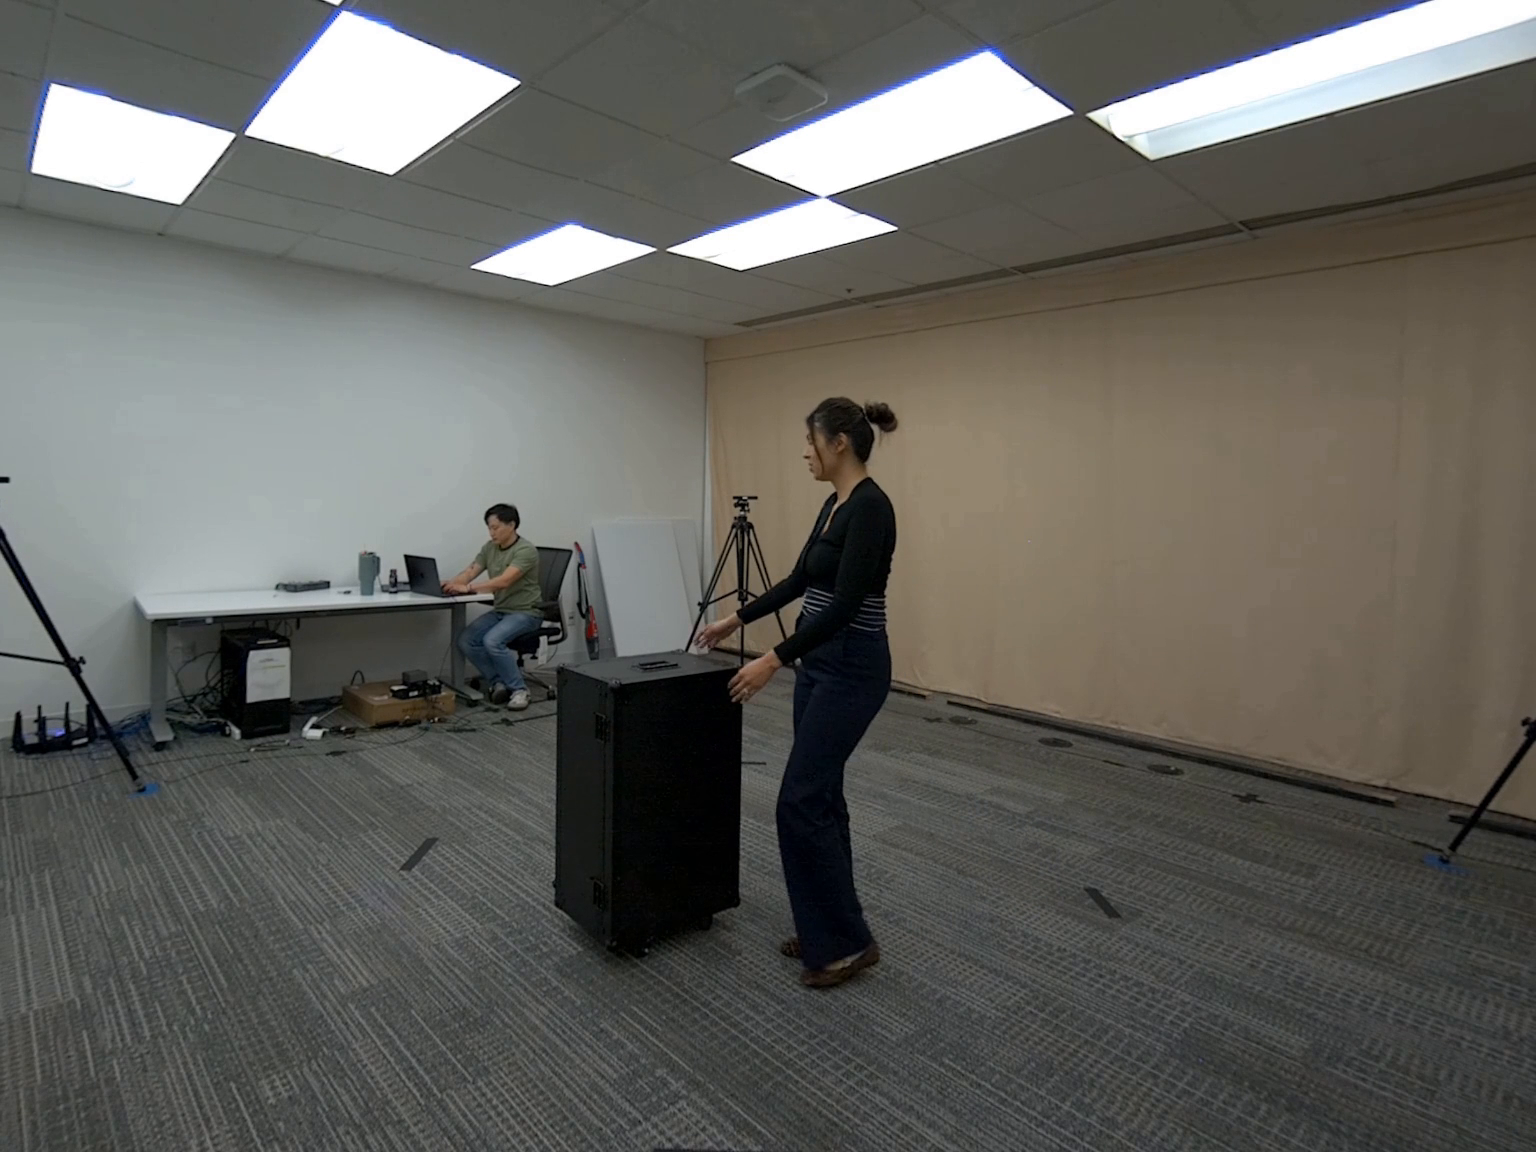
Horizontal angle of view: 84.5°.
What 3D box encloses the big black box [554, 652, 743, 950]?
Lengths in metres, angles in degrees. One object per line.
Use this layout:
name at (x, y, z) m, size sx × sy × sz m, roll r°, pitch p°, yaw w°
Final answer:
big black box at (-0.399, 0.713, 2.702) m, size 0.509 × 0.860 × 0.406 m, roll -2°, pitch 3°, yaw -39°
